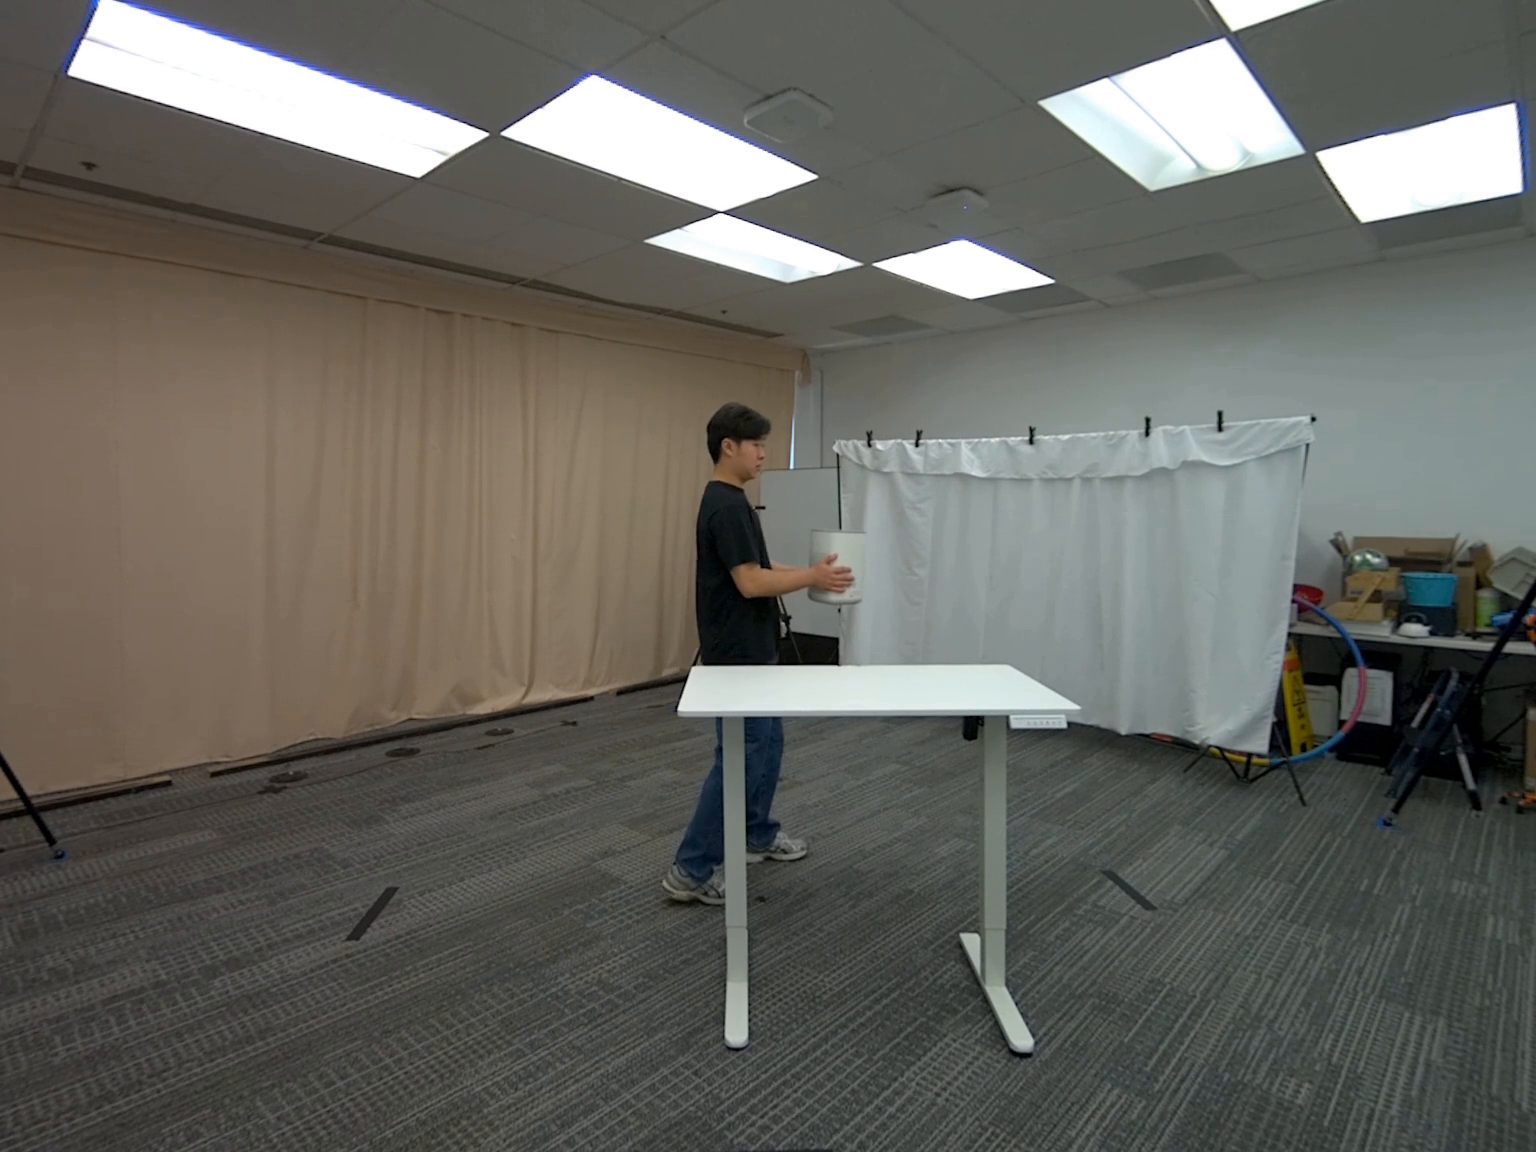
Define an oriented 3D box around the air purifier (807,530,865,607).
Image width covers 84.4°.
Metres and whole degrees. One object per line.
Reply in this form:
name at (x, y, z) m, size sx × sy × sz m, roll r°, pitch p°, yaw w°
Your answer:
air purifier at (0.243, -0.035, 3.074) m, size 0.166 × 0.265 × 0.177 m, roll 0°, pitch 5°, yaw -34°
